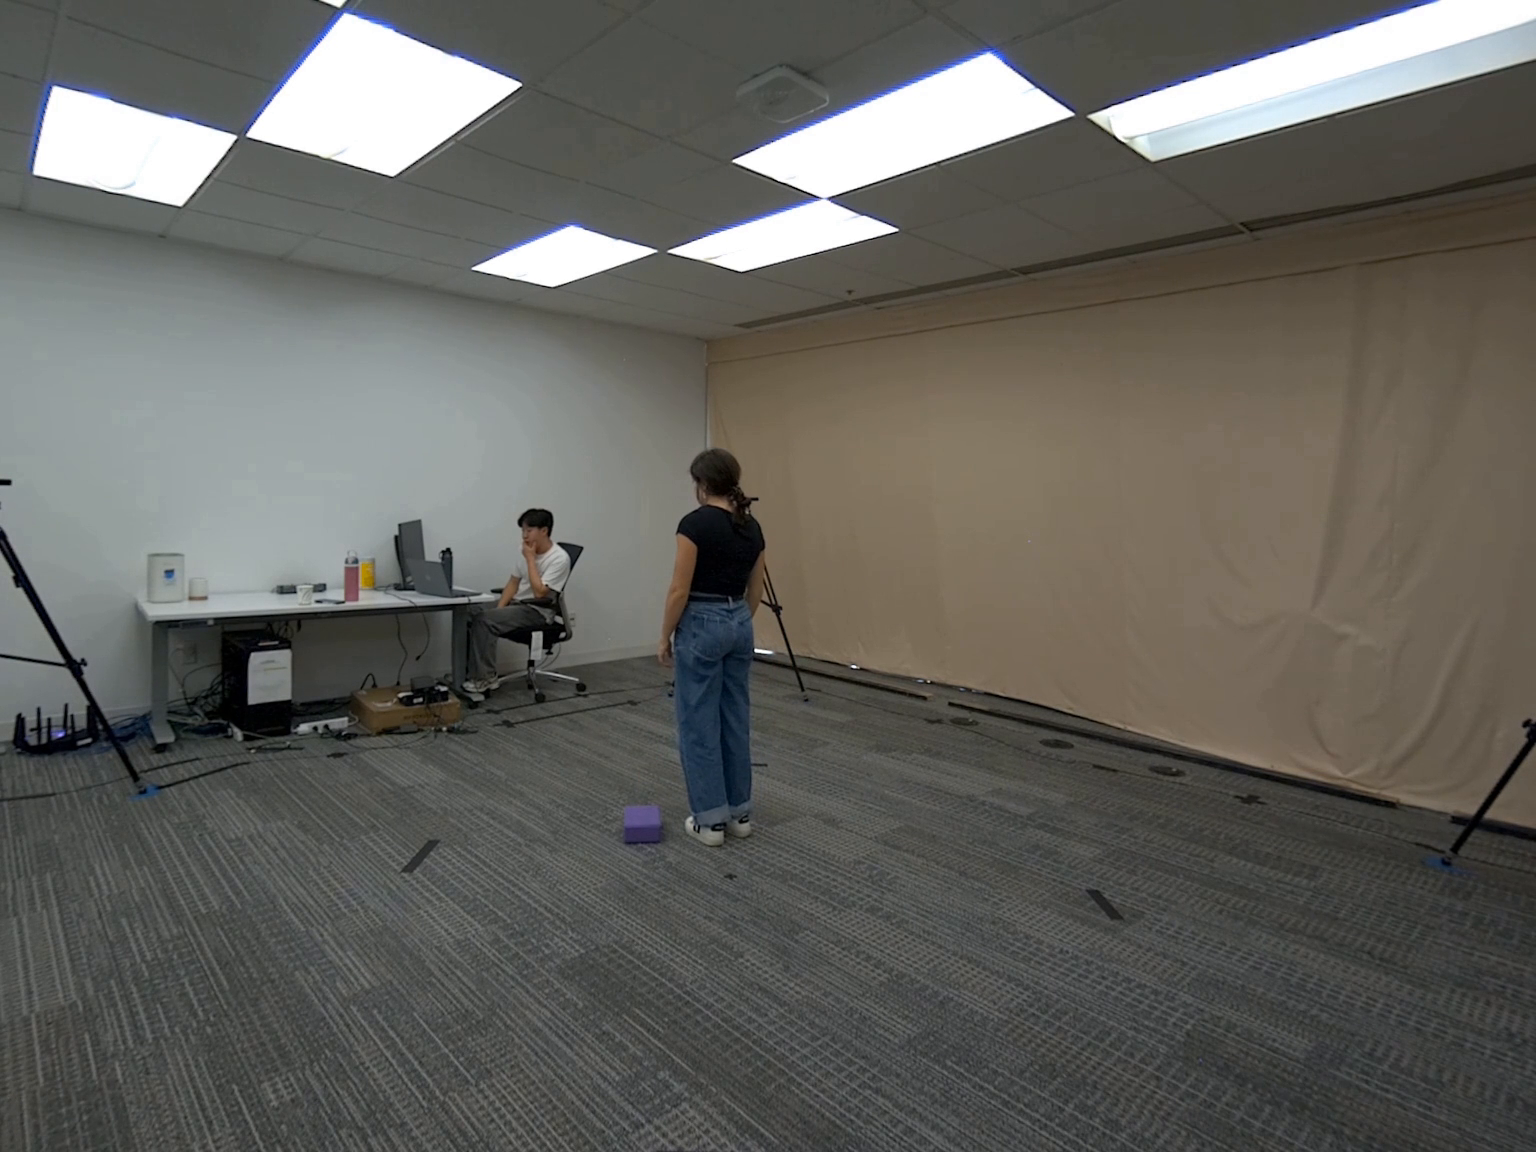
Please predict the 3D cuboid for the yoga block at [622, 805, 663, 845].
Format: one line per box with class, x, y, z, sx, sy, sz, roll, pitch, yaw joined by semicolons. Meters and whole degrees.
yoga block;-0.525;1.018;3.489;0.148;0.076;0.232;0;6;-9
